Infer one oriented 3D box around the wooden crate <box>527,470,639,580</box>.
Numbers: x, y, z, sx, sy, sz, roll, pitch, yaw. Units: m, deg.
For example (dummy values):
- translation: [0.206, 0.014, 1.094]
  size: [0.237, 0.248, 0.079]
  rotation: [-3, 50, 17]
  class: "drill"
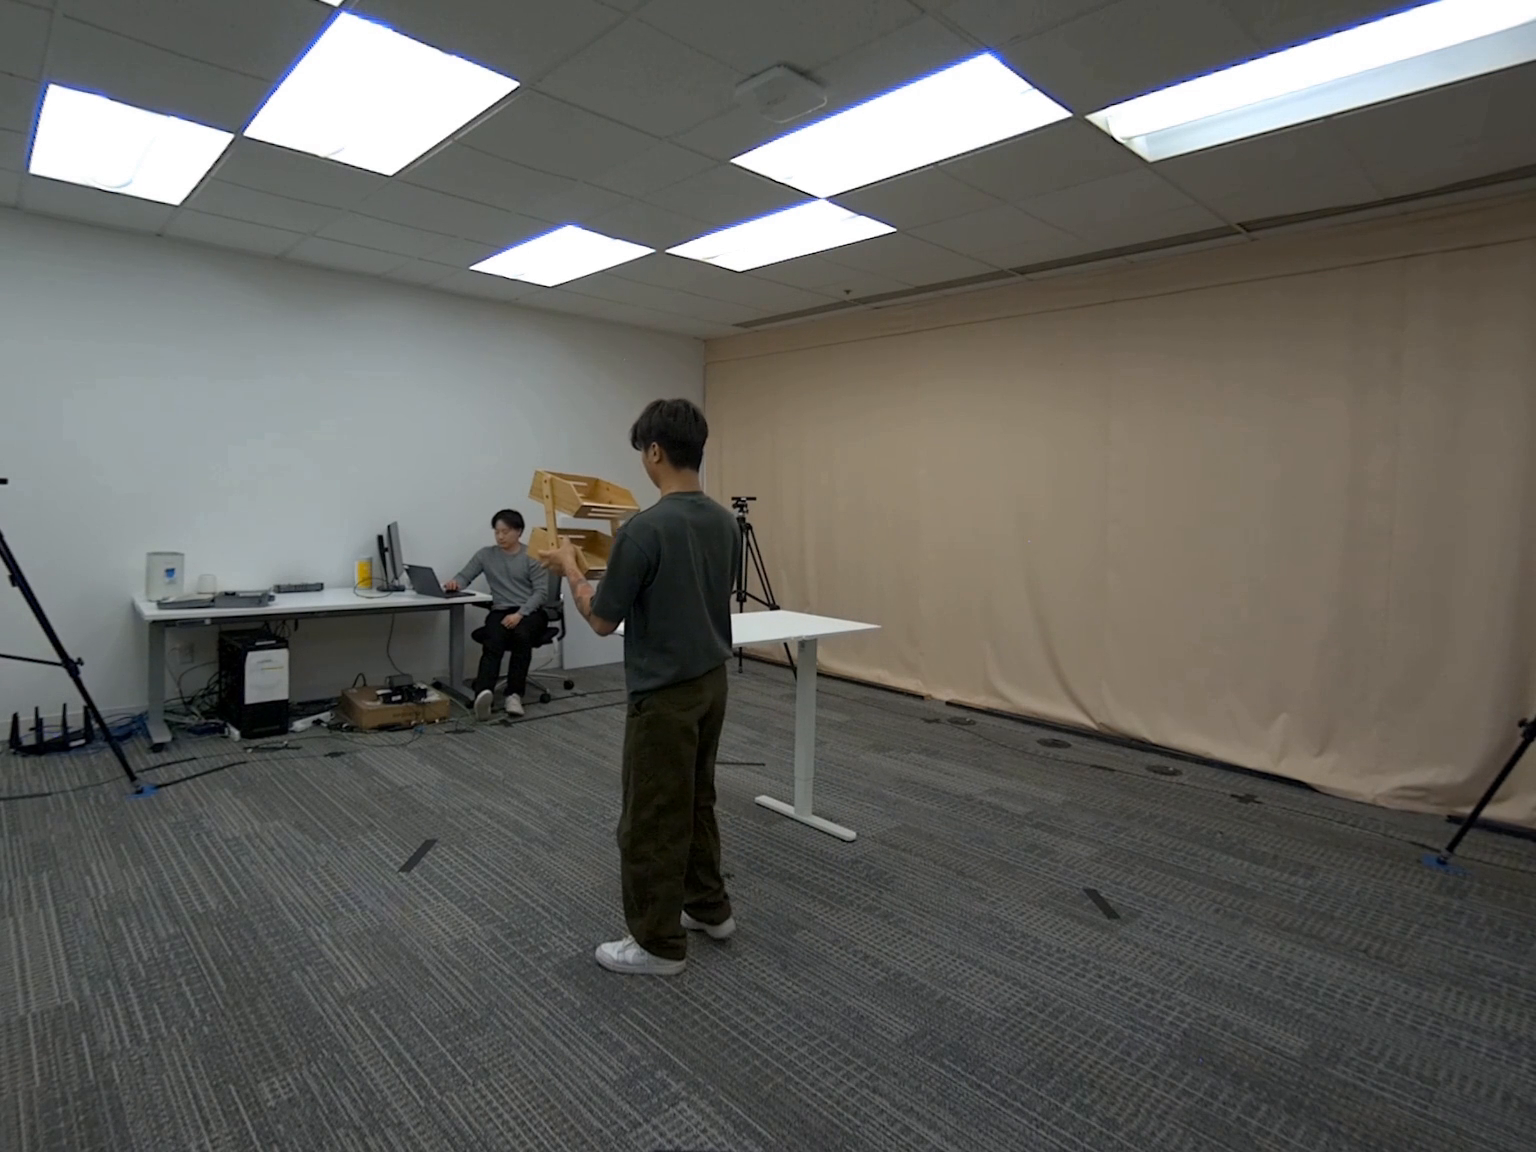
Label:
- translation: [-0.559, -0.162, 2.658]
  size: [0.310, 0.272, 0.318]
  rotation: [22, 10, 27]
  class: "wooden crate"
